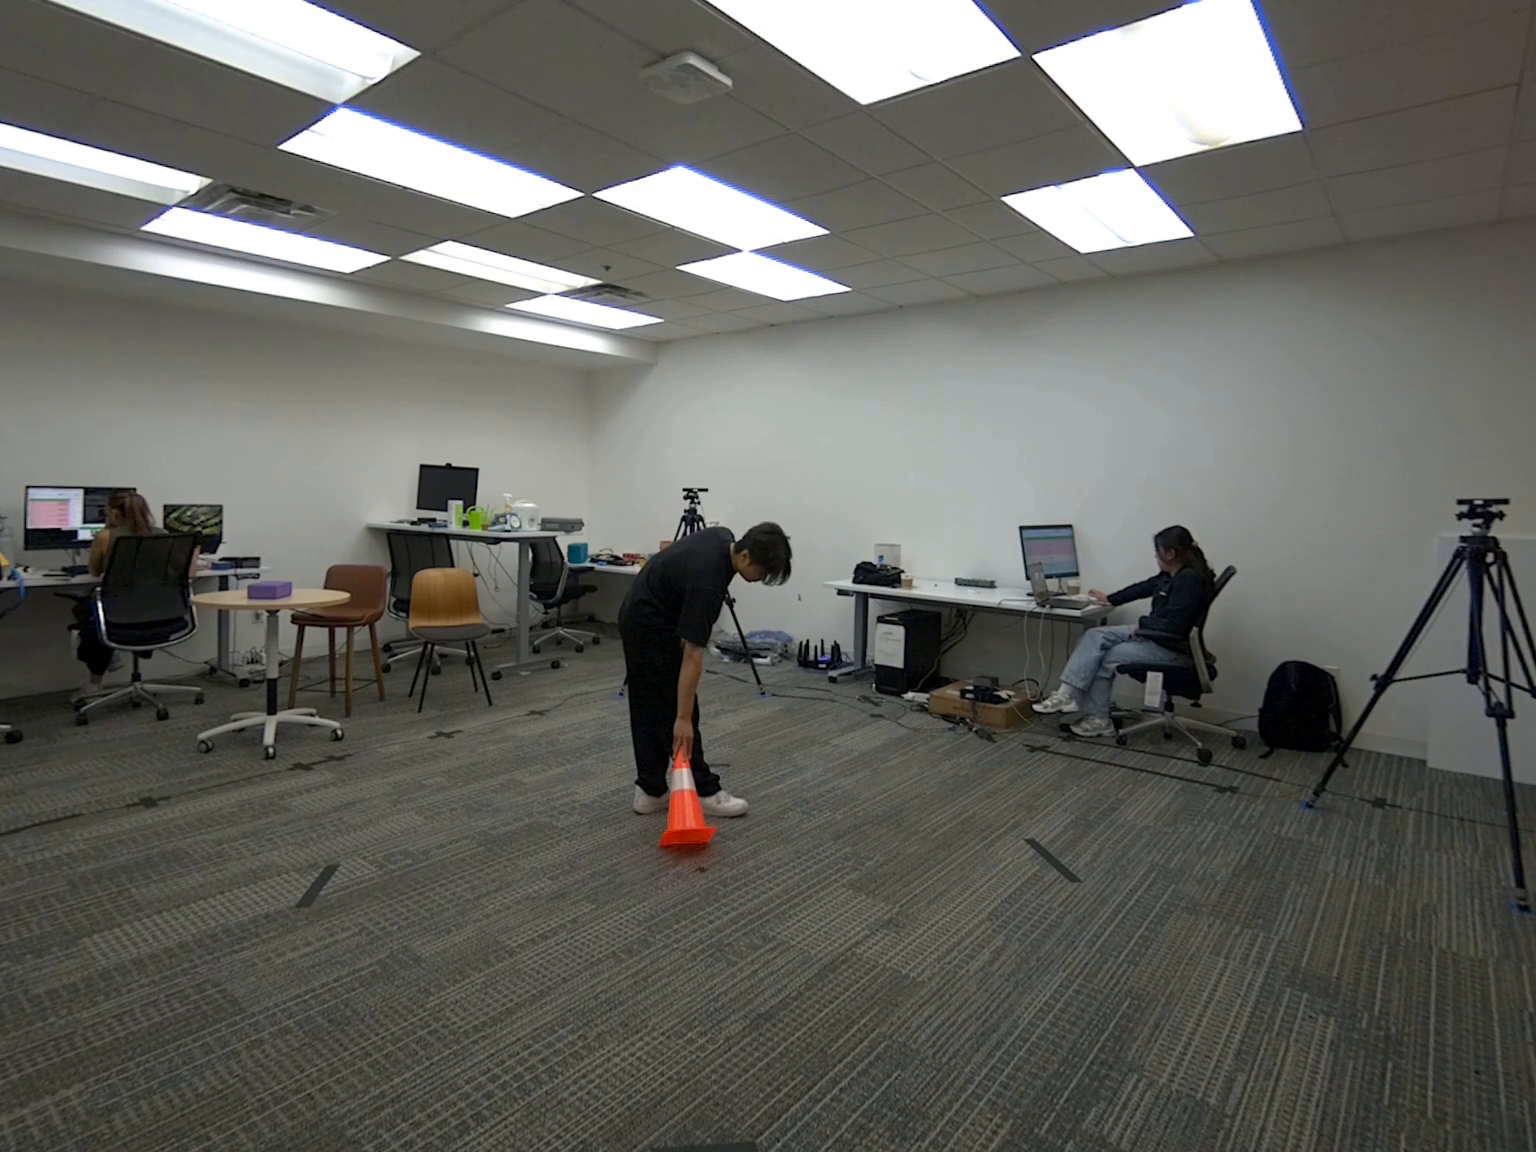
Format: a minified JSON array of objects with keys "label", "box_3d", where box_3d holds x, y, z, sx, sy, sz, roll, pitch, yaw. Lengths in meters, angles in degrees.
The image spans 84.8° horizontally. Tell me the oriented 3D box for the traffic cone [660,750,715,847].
[{"label":"traffic cone","box_3d":[-0.346,0.835,3.363,0.200,0.395,0.202,2,-33,-18]}]
